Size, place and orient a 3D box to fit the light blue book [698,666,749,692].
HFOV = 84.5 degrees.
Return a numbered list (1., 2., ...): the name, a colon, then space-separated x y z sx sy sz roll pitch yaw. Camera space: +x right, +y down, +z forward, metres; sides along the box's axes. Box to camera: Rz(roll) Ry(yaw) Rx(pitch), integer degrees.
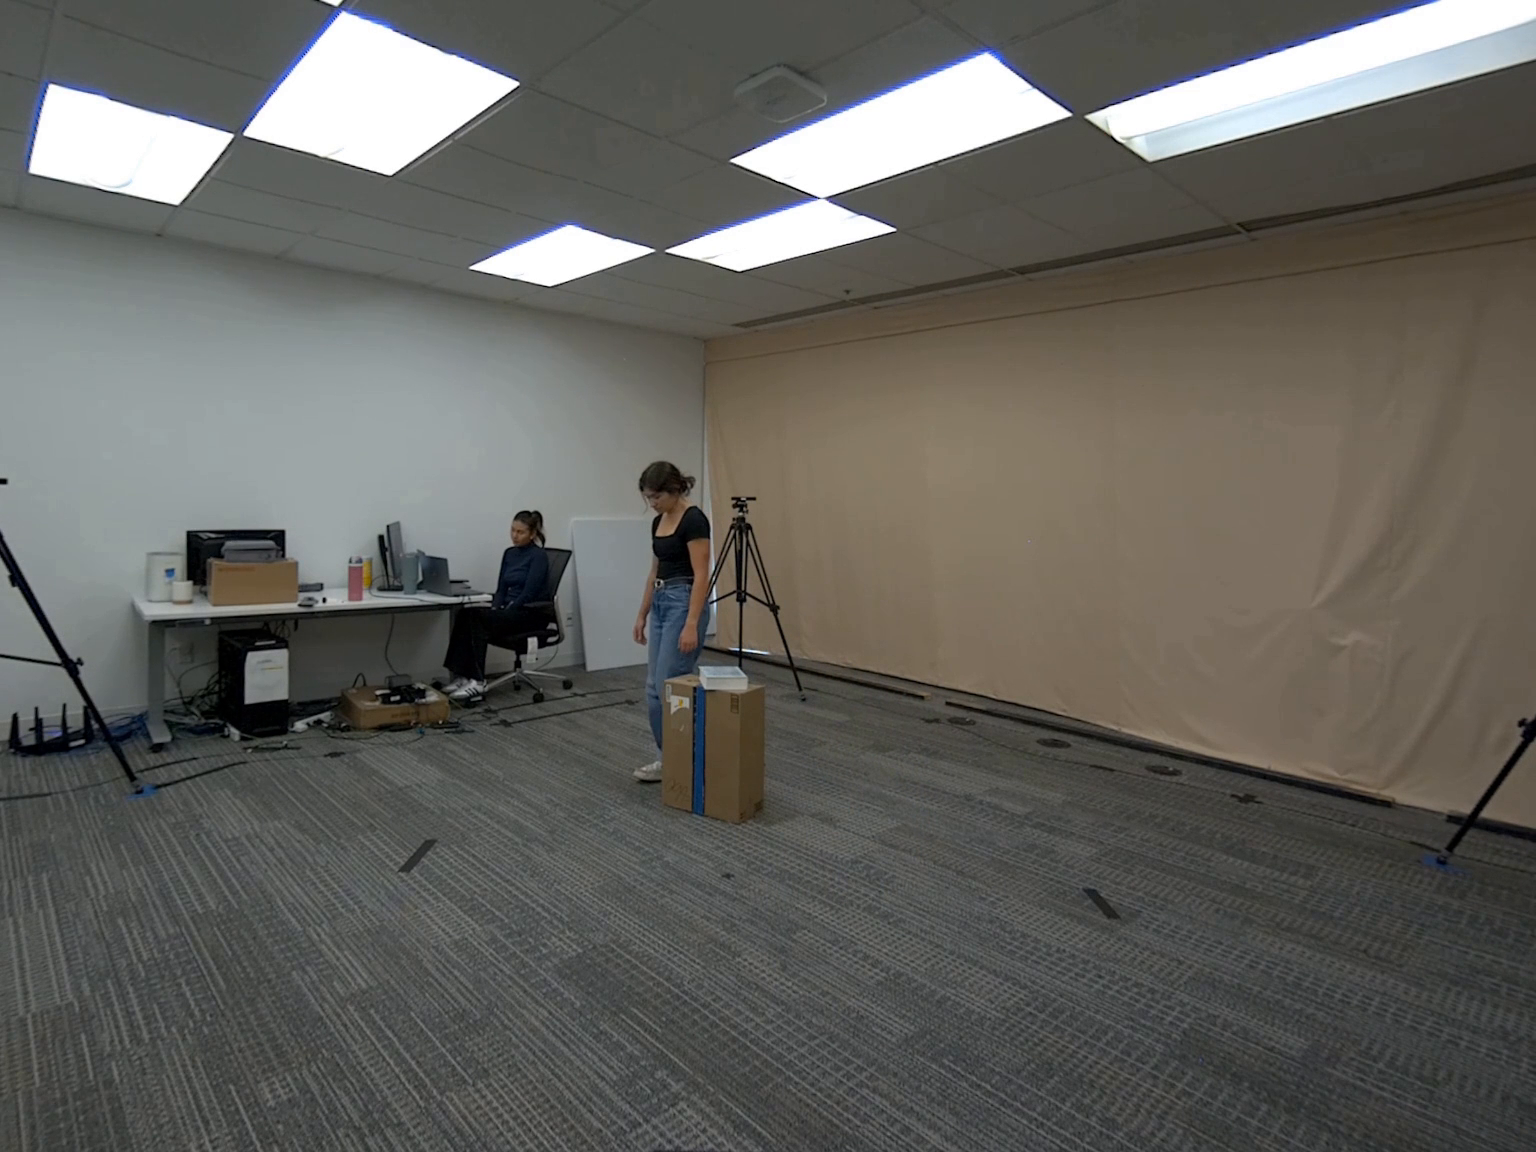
1. light blue book: -0.207 0.456 3.775 0.190 0.059 0.263 1 4 -10
